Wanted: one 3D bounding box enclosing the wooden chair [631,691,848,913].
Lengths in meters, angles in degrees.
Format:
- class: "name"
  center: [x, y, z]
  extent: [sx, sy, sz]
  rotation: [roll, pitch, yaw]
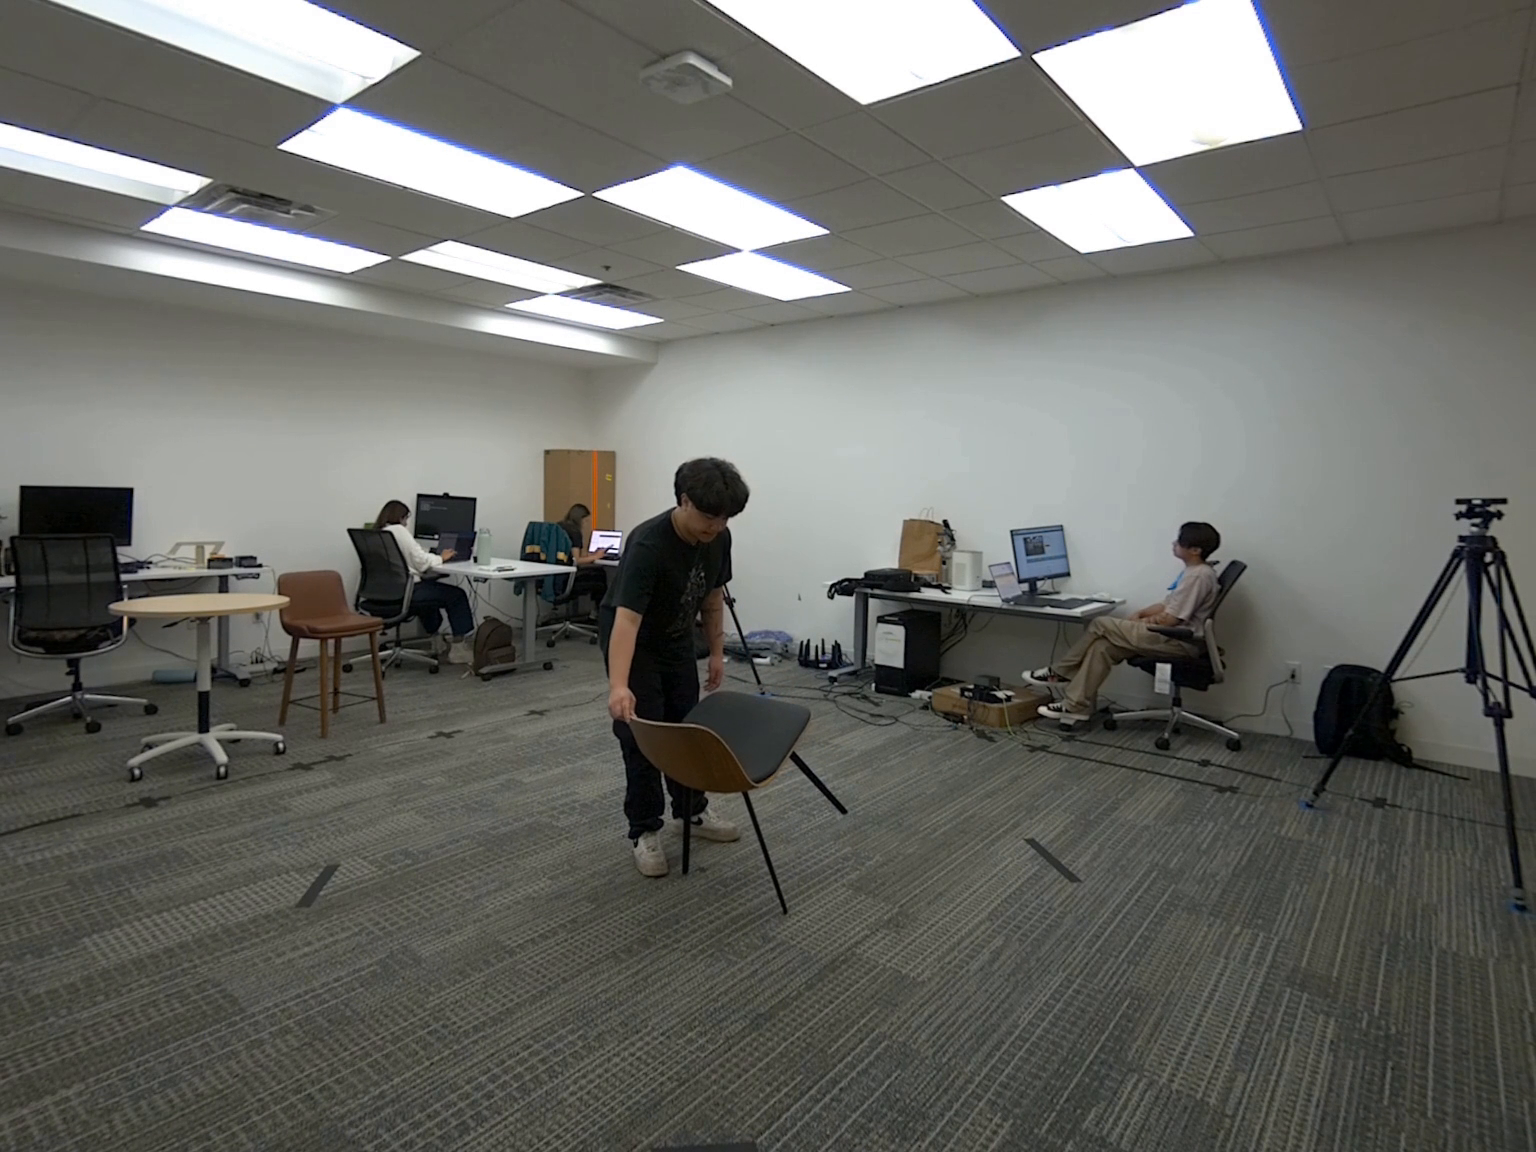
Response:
- class: "wooden chair"
  center: [-0.125, 0.605, 2.893]
  extent: [0.494, 0.848, 0.524]
  rotation: [3, 39, 38]
